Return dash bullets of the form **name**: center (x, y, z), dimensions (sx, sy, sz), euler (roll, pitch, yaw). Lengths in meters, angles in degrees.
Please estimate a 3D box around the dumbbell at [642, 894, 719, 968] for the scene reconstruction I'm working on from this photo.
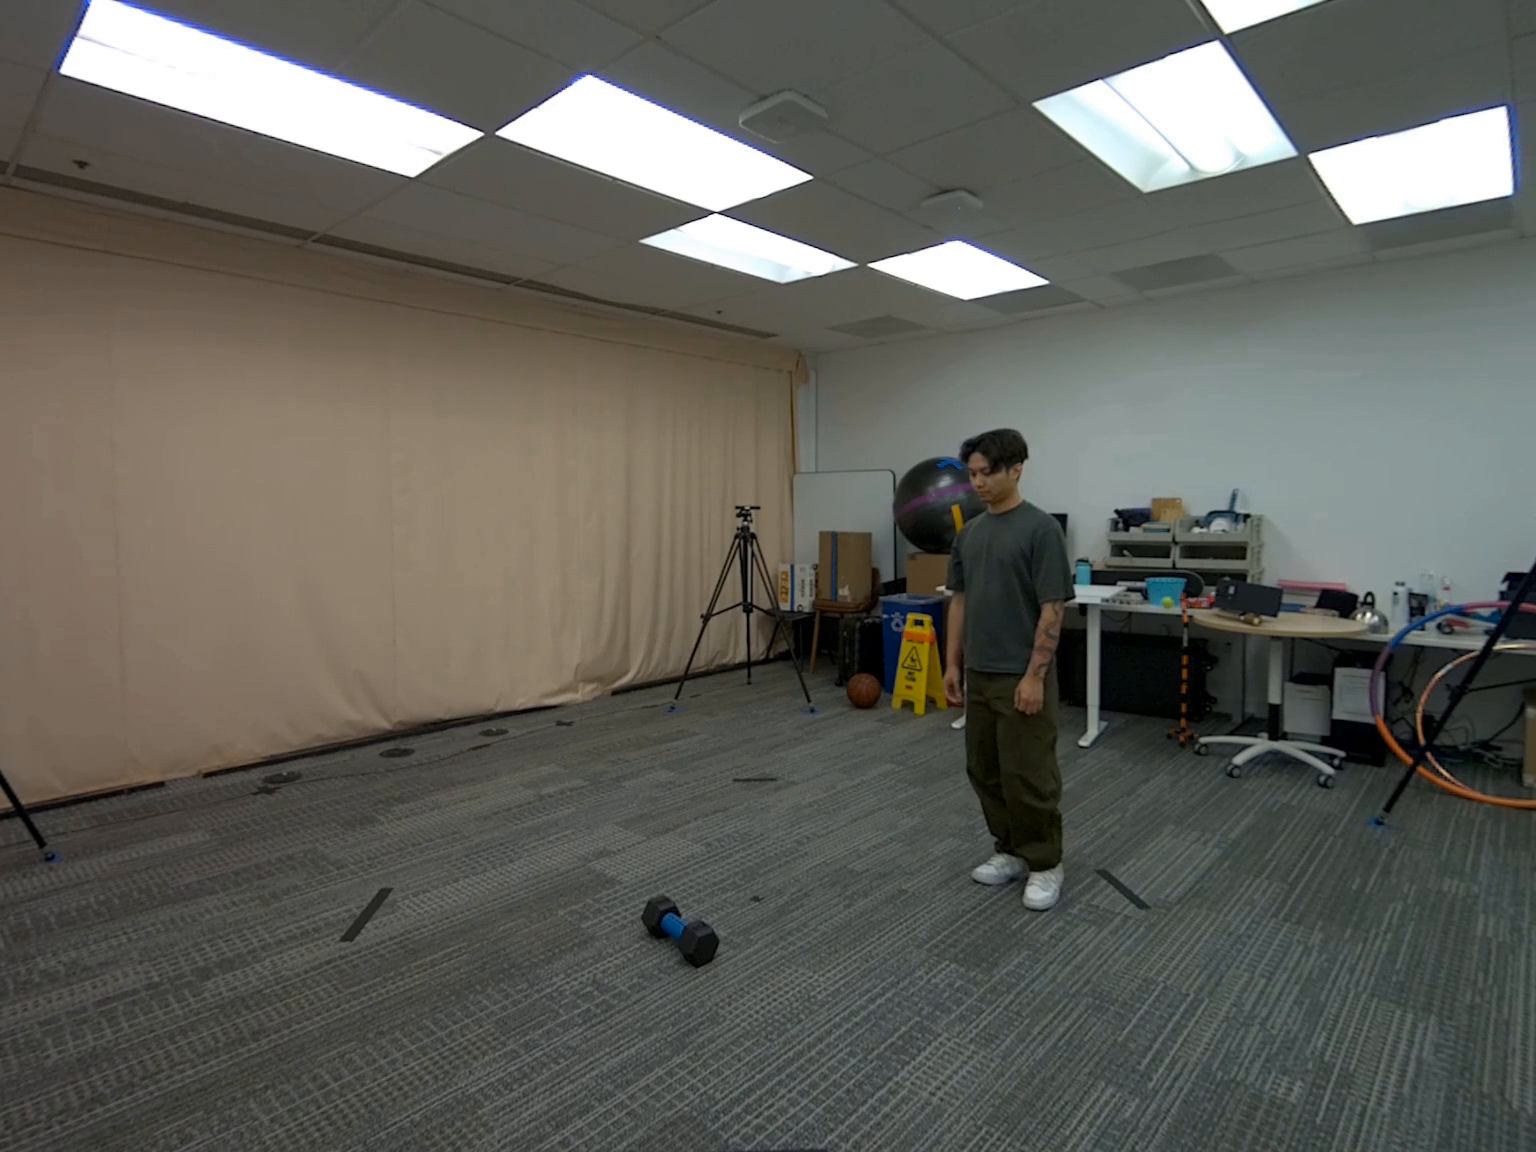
- **dumbbell**: center (-0.283, 1.121, 2.658), dimensions (0.107, 0.120, 0.303), euler (-38, 26, -30)
